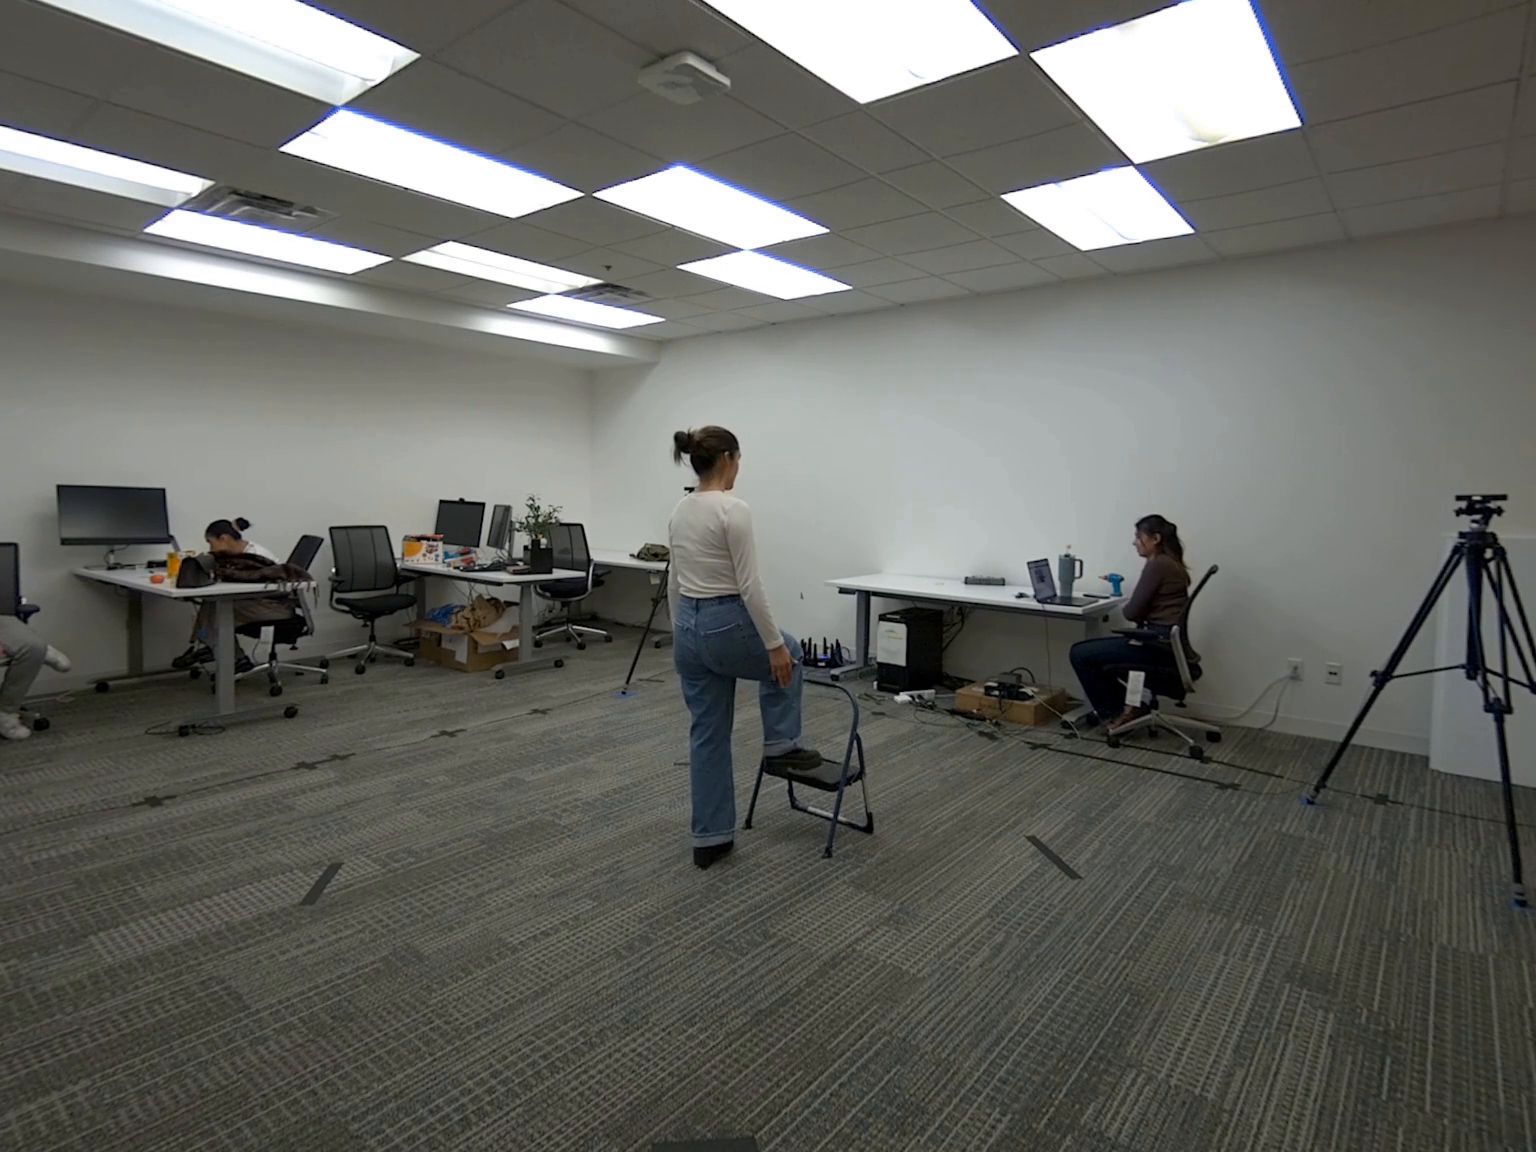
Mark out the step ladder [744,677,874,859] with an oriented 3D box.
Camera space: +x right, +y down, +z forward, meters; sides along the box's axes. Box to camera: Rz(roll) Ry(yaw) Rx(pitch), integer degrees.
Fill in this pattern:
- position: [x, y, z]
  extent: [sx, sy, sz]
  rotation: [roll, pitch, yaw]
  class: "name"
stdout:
- position: [0.165, 0.735, 3.461]
  extent: [0.445, 0.604, 0.339]
  rotation: [4, 4, 39]
  class: "step ladder"
